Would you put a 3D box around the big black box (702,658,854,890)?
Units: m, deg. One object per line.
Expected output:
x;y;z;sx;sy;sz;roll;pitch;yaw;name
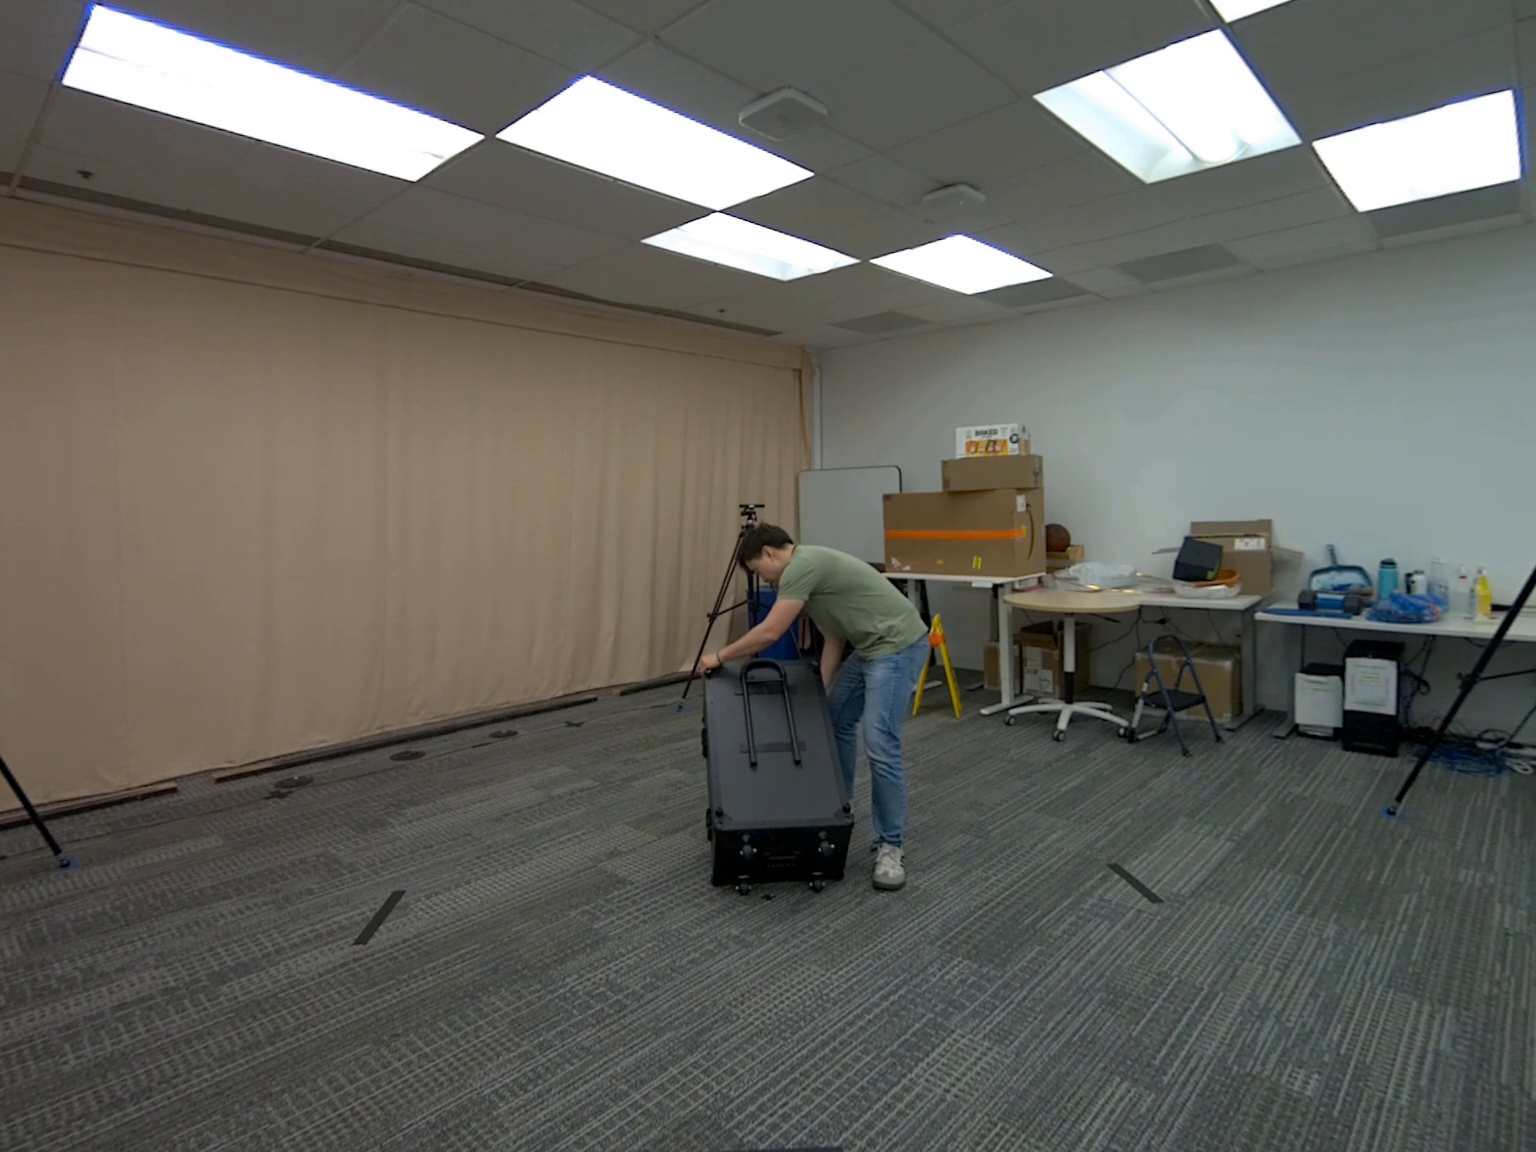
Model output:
0.017;0.749;3.252;0.519;0.389;0.880;-2;41;-5;big black box
